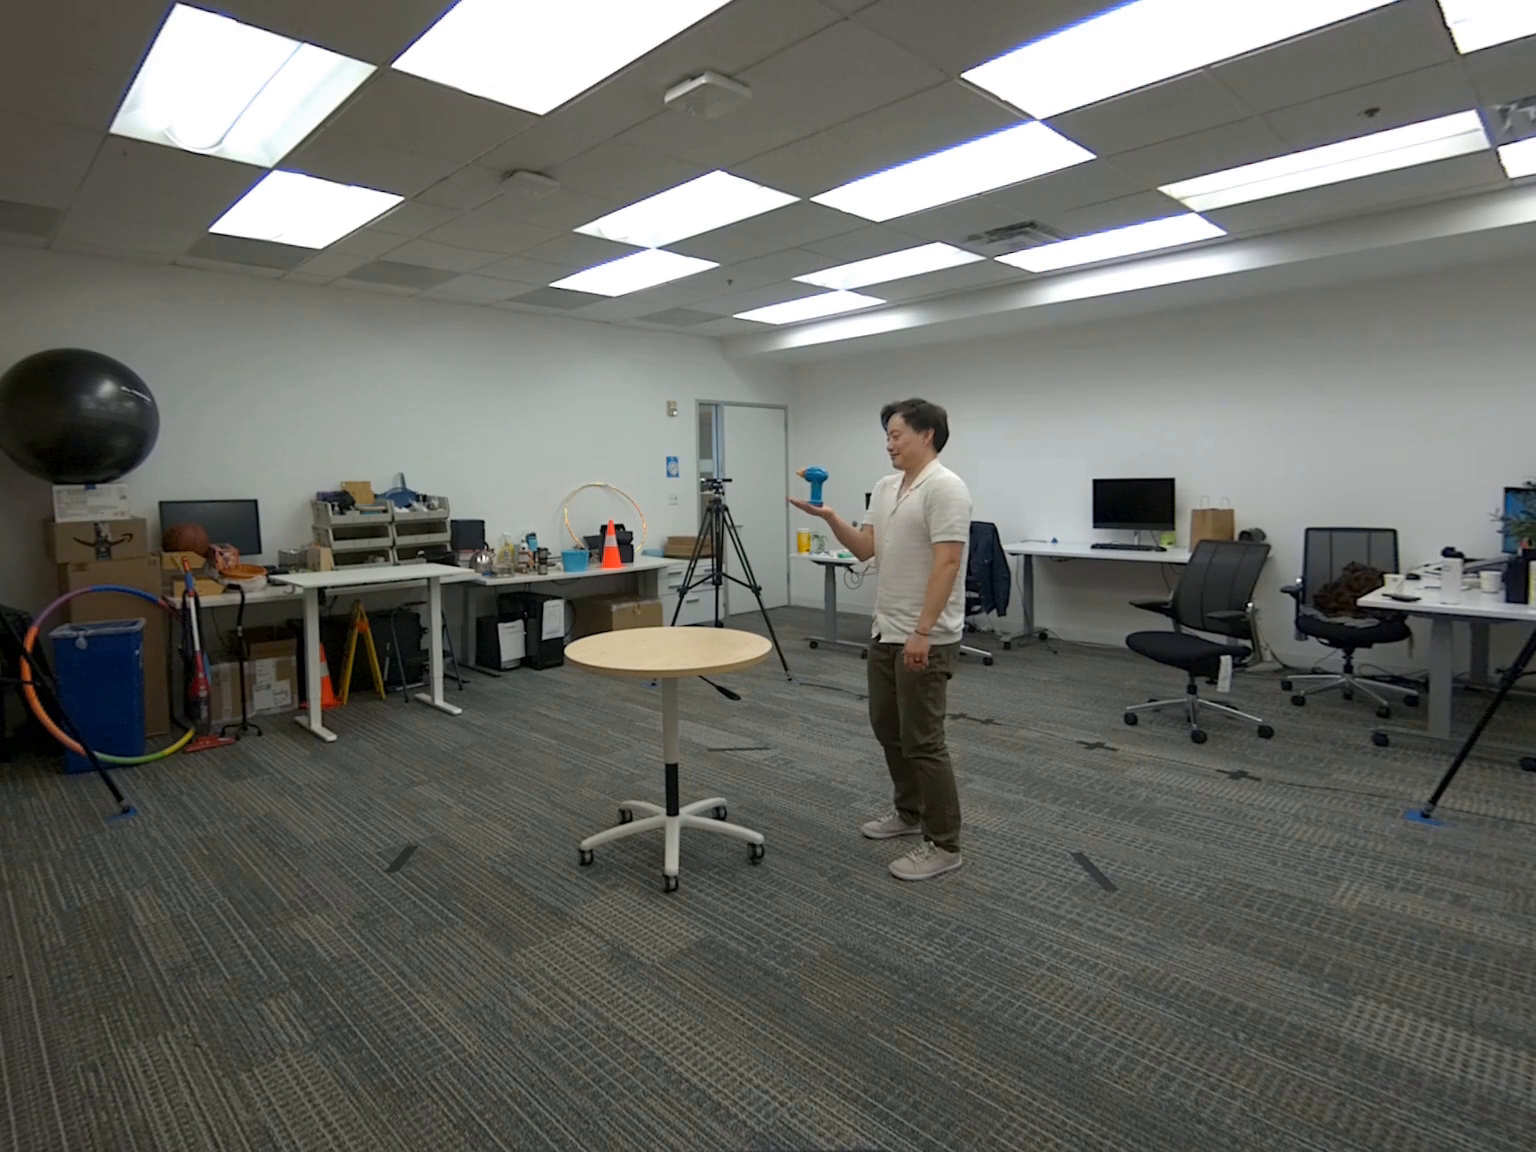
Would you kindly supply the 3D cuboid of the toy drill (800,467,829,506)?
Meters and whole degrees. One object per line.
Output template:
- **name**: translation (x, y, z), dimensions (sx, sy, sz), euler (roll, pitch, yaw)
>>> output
- **toy drill**: translation (0.163, -0.336, 3.129), dimensions (0.059, 0.145, 0.175), euler (1, 10, -34)
